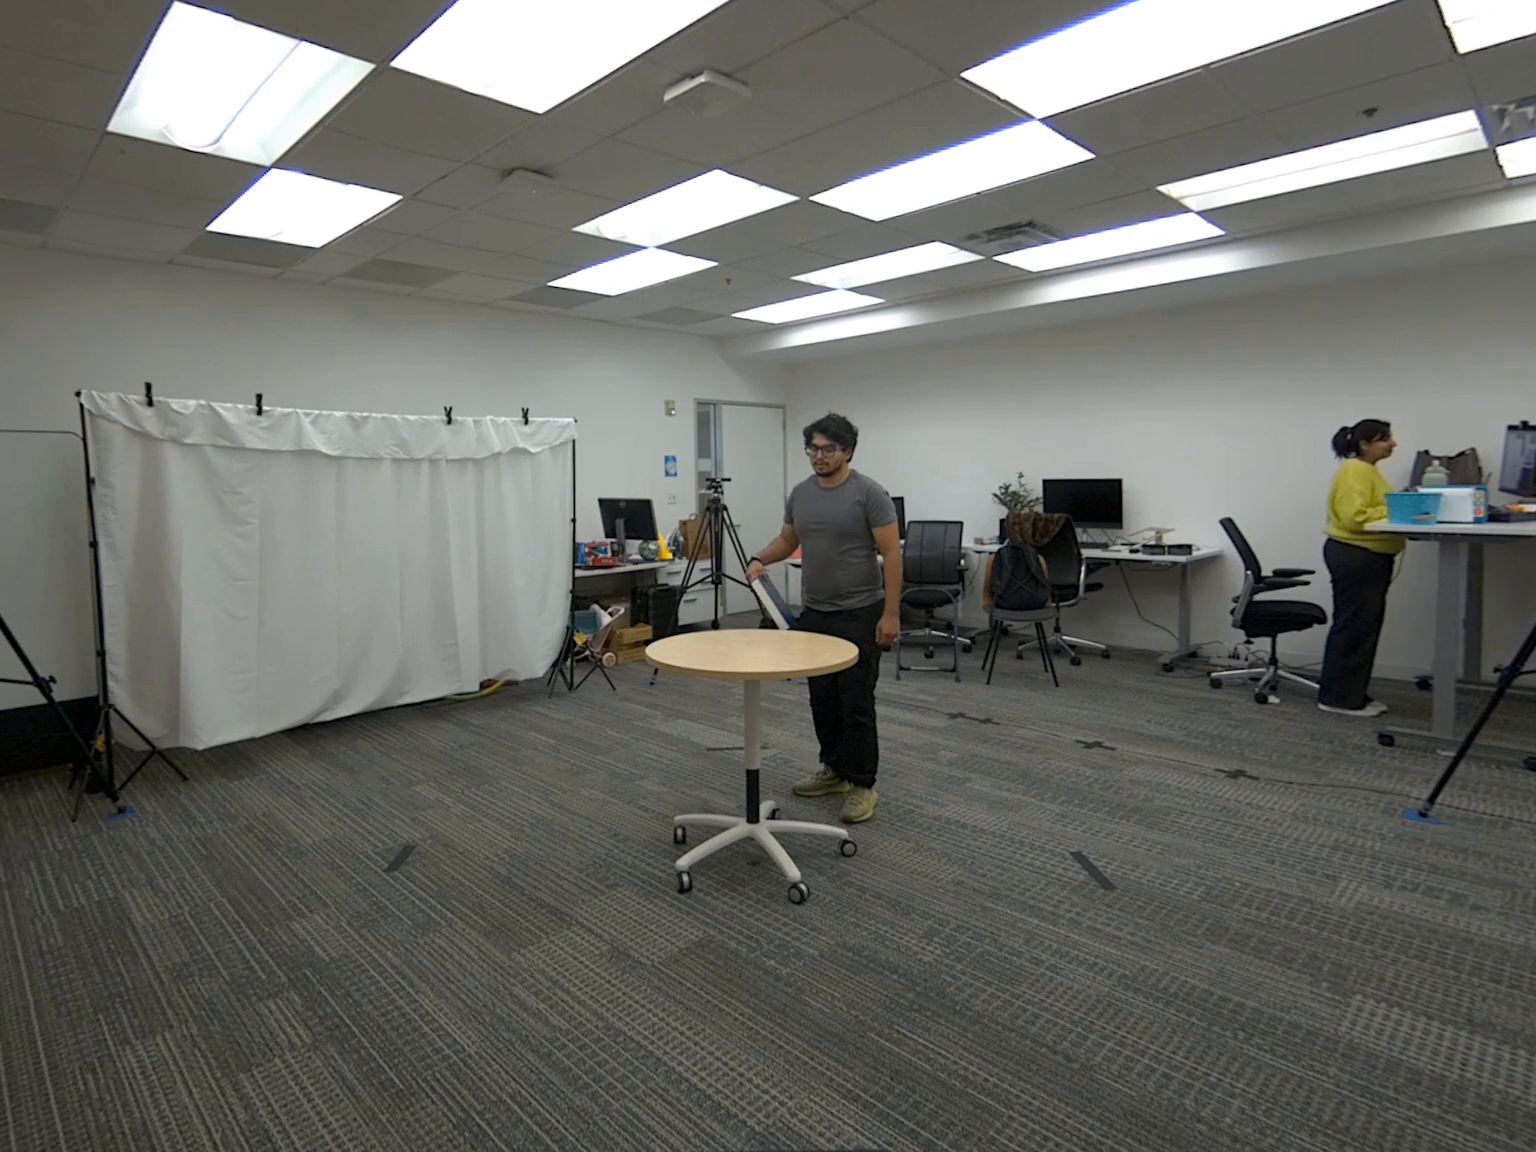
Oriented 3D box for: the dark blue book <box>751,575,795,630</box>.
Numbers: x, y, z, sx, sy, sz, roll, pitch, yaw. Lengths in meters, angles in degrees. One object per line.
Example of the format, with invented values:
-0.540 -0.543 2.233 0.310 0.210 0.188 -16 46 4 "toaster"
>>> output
0.020 0.110 3.595 0.045 0.245 0.162 -29 -1 14 "dark blue book"
